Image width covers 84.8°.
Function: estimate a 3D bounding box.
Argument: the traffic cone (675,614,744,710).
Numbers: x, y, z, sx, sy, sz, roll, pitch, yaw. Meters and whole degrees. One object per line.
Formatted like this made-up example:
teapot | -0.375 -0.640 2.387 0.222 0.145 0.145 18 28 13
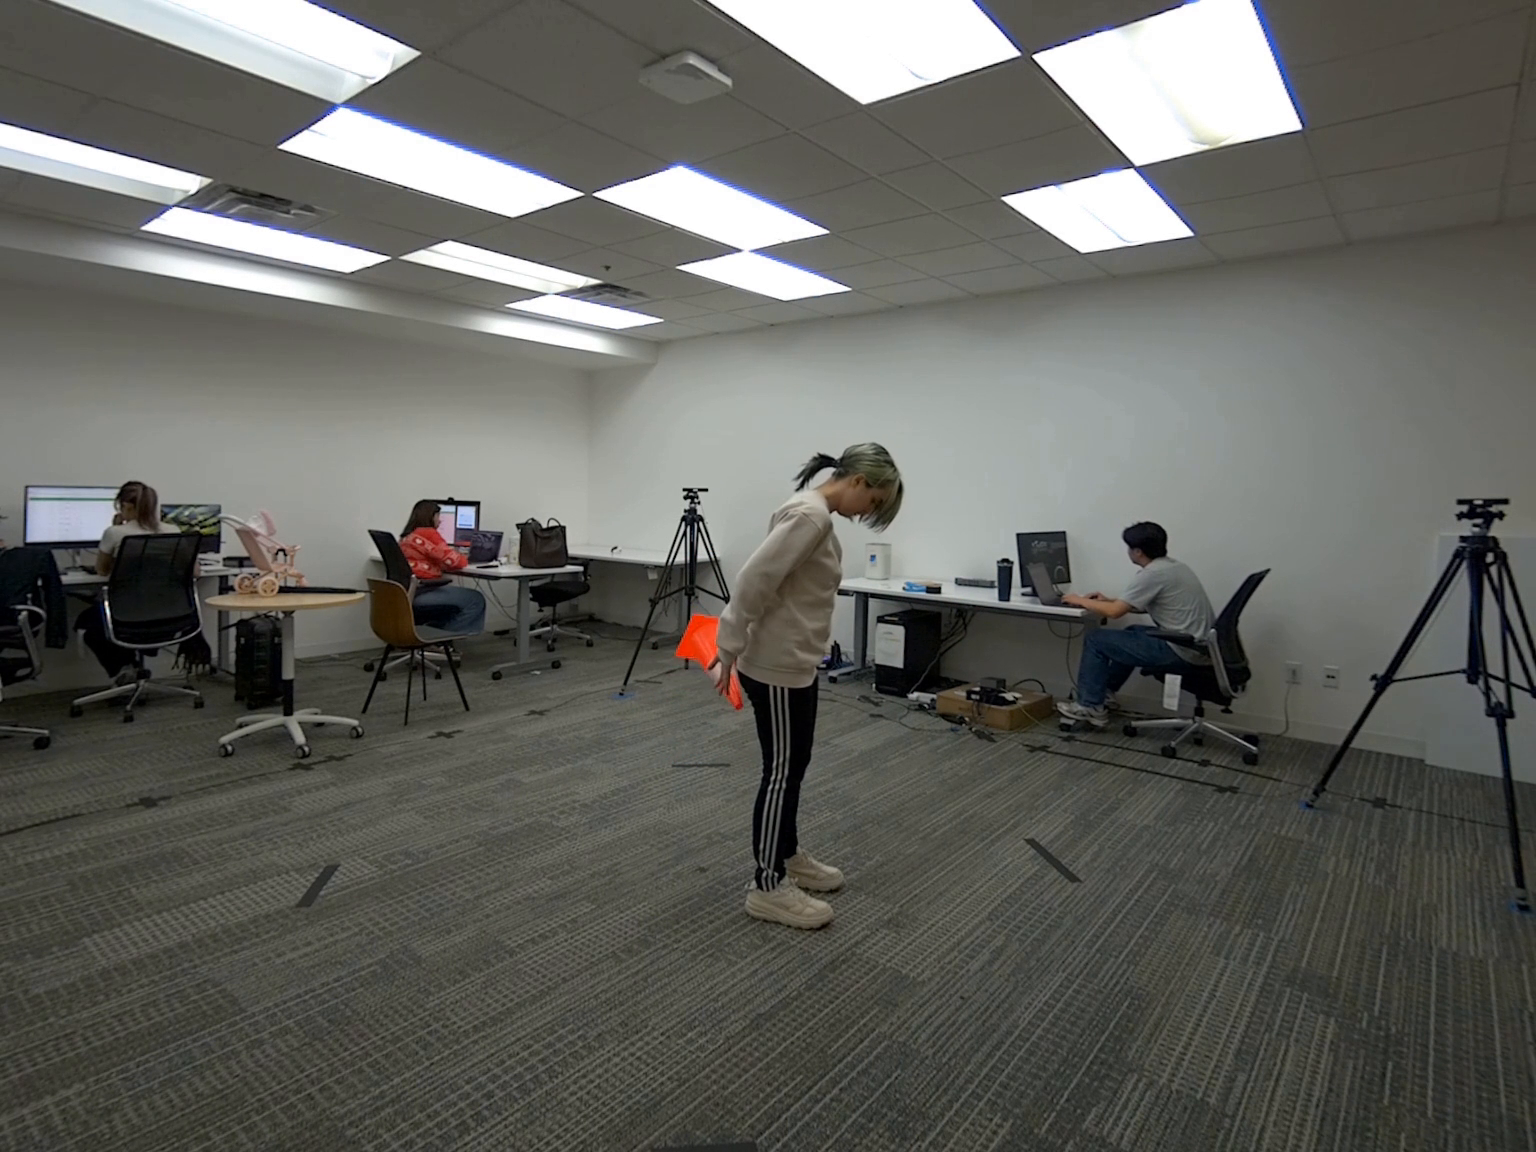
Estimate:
traffic cone | -0.161 0.336 3.035 0.197 0.203 0.399 15 23 -32
